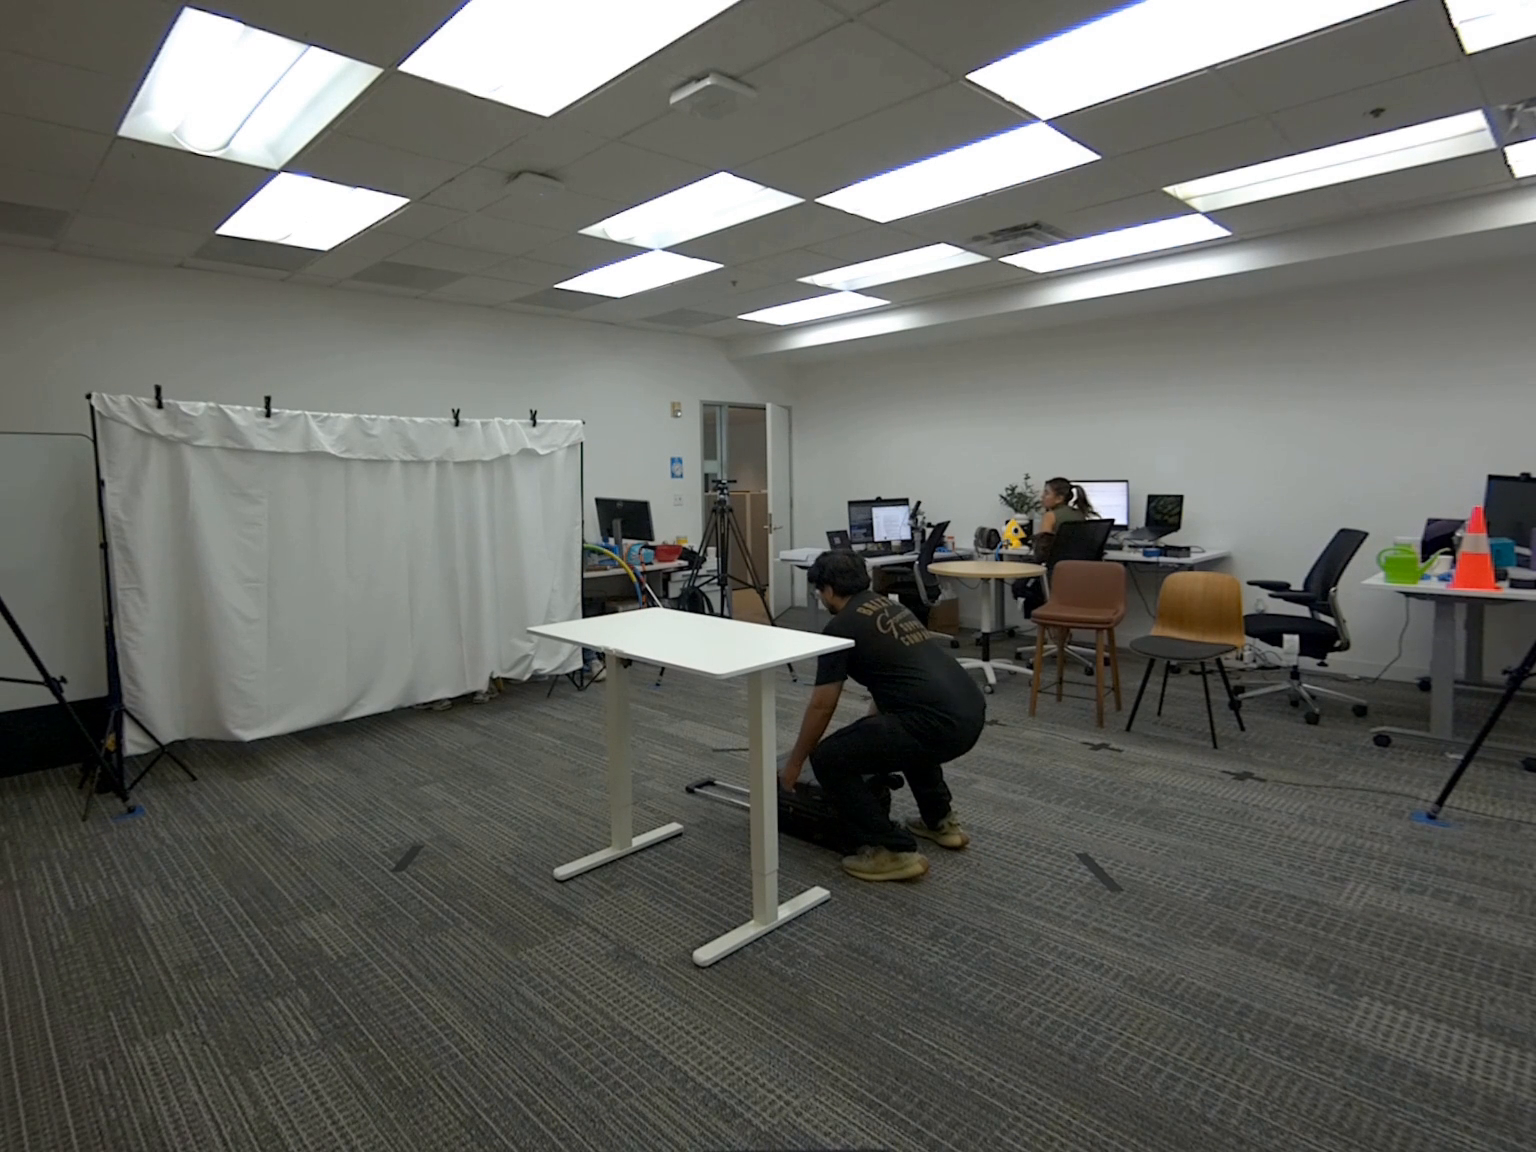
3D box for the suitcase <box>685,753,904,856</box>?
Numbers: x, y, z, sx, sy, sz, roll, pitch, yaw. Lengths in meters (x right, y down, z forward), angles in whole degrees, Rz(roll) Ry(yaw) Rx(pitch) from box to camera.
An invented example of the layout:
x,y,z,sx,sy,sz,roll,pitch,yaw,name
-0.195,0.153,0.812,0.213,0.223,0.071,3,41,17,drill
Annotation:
x,y,z,sx,sy,sz,roll,pitch,yaw,name
0.060,0.872,3.569,1.010,0.255,0.374,7,9,41,suitcase
